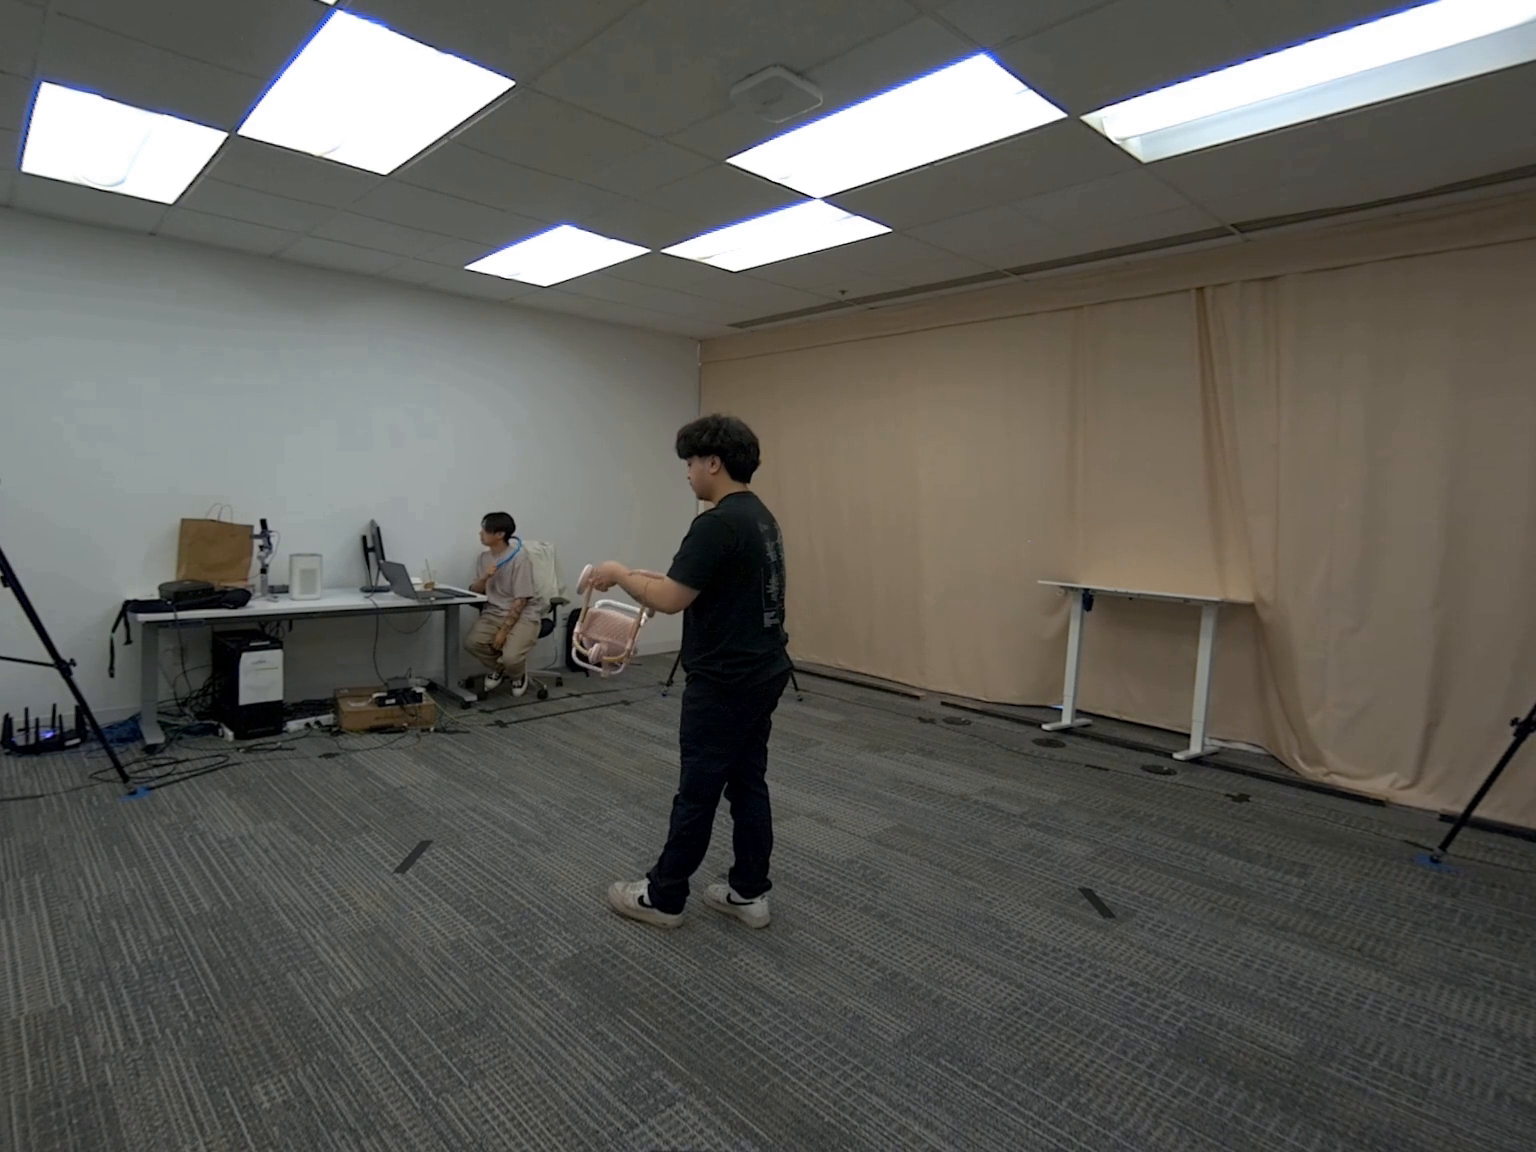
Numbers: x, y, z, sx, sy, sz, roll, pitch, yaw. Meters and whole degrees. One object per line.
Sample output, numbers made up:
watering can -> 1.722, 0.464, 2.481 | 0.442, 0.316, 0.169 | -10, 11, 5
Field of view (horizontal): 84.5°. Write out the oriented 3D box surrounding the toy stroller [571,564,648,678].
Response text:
toy stroller -> -0.567, 0.198, 2.998 | 0.280, 0.345, 0.532 | 16, -20, -6
